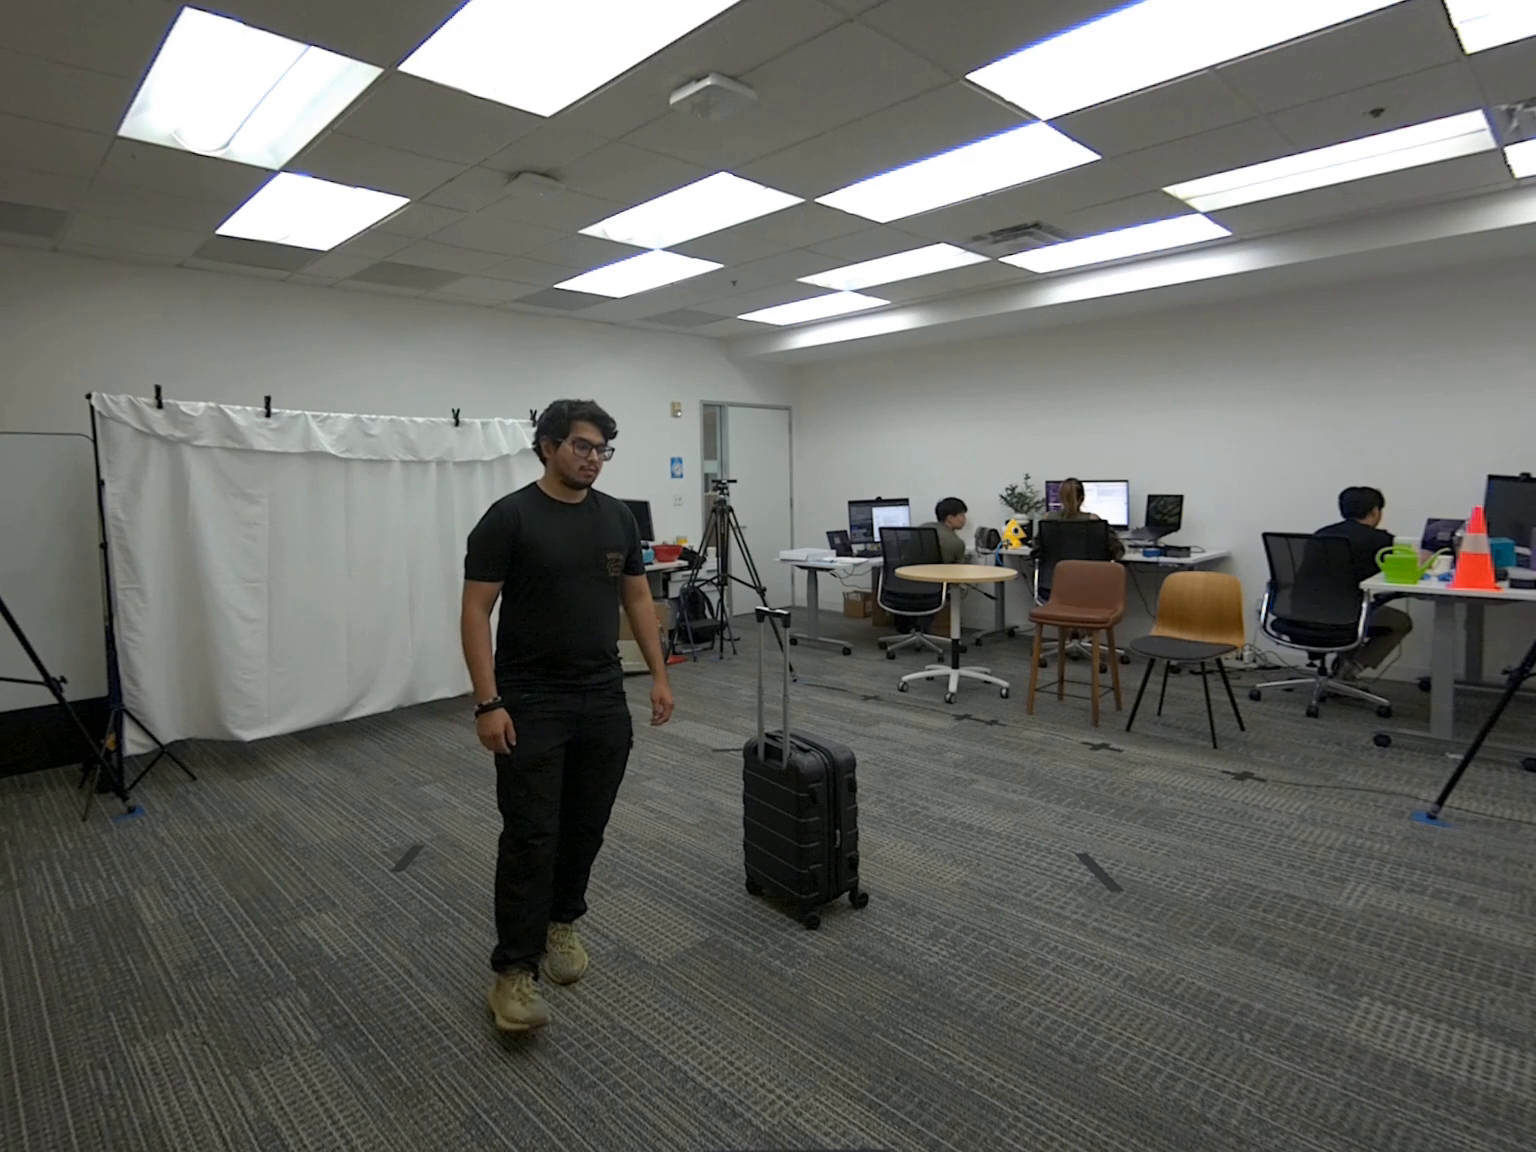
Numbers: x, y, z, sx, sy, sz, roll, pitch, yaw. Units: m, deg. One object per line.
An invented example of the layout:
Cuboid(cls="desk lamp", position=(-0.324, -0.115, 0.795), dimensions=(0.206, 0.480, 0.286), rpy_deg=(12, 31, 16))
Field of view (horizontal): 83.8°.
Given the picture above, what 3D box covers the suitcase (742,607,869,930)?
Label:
Cuboid(cls="suitcase", position=(0.108, 0.598, 2.817), dimensions=(0.250, 0.975, 0.395), rpy_deg=(-3, 5, -35))
